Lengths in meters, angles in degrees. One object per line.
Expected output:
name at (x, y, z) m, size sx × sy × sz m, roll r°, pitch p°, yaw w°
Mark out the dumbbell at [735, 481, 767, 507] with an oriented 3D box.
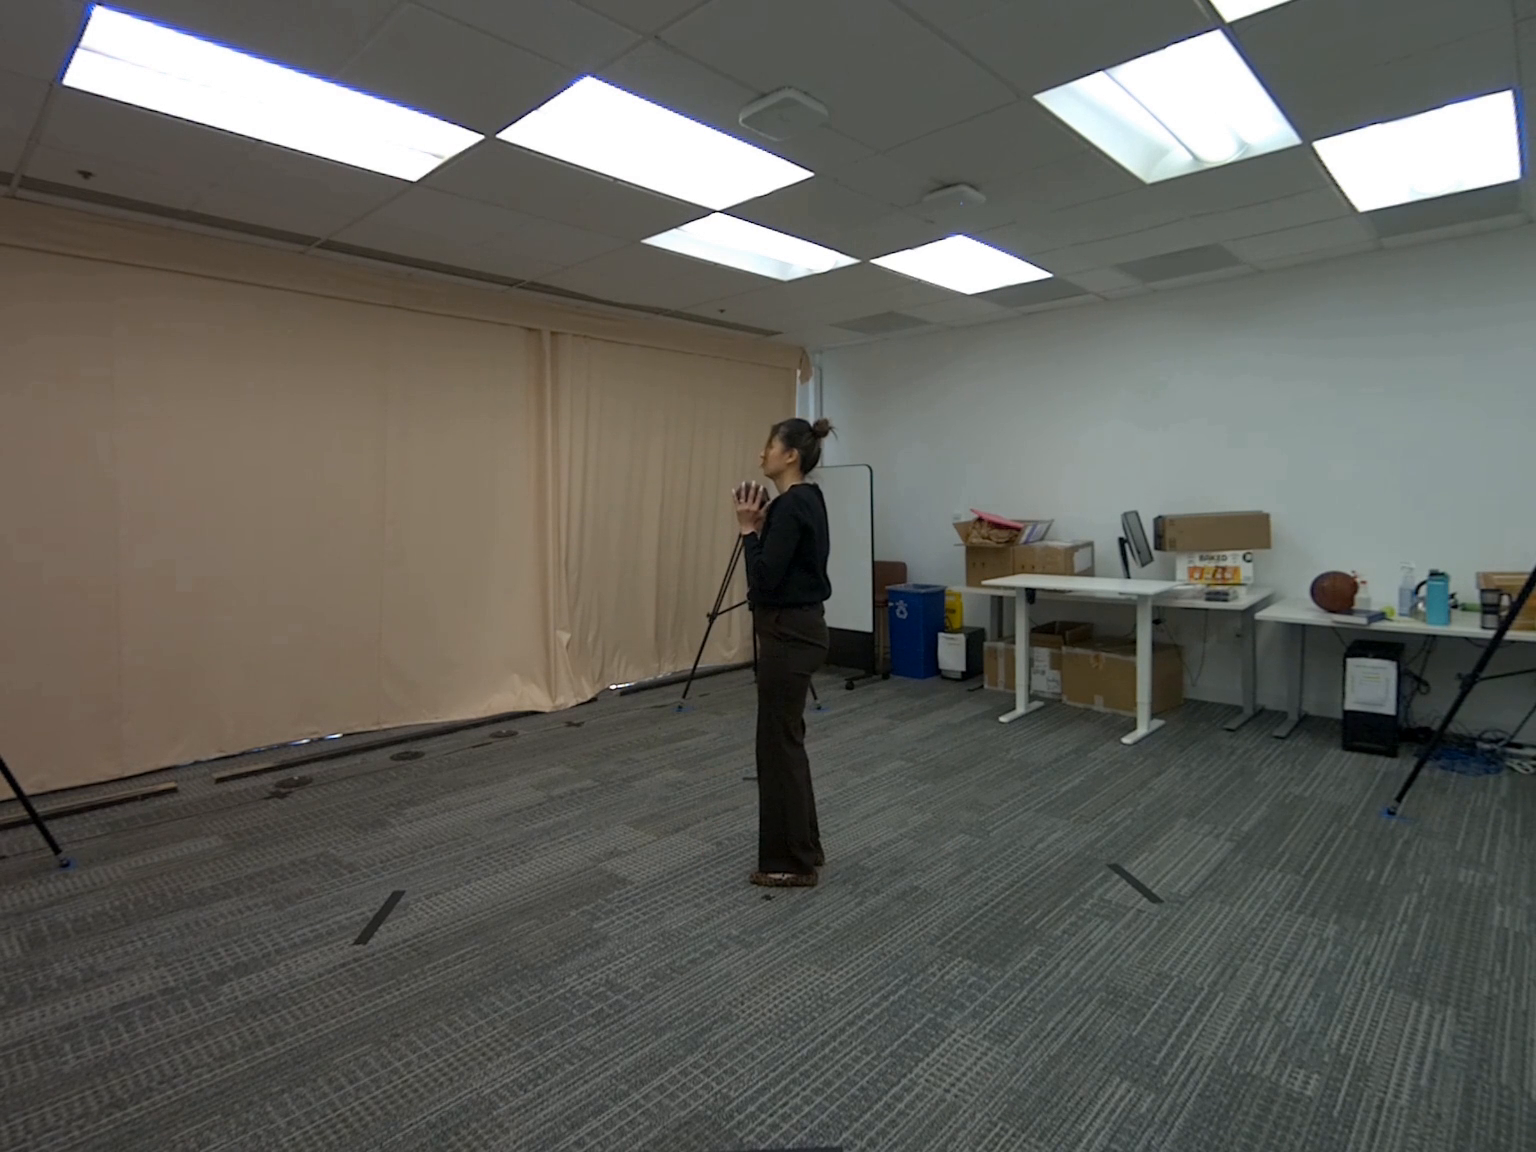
dumbbell at (-0.046, -0.292, 3.167) m, size 0.109 × 0.123 × 0.292 m, roll 41°, pitch 6°, yaw 1°
